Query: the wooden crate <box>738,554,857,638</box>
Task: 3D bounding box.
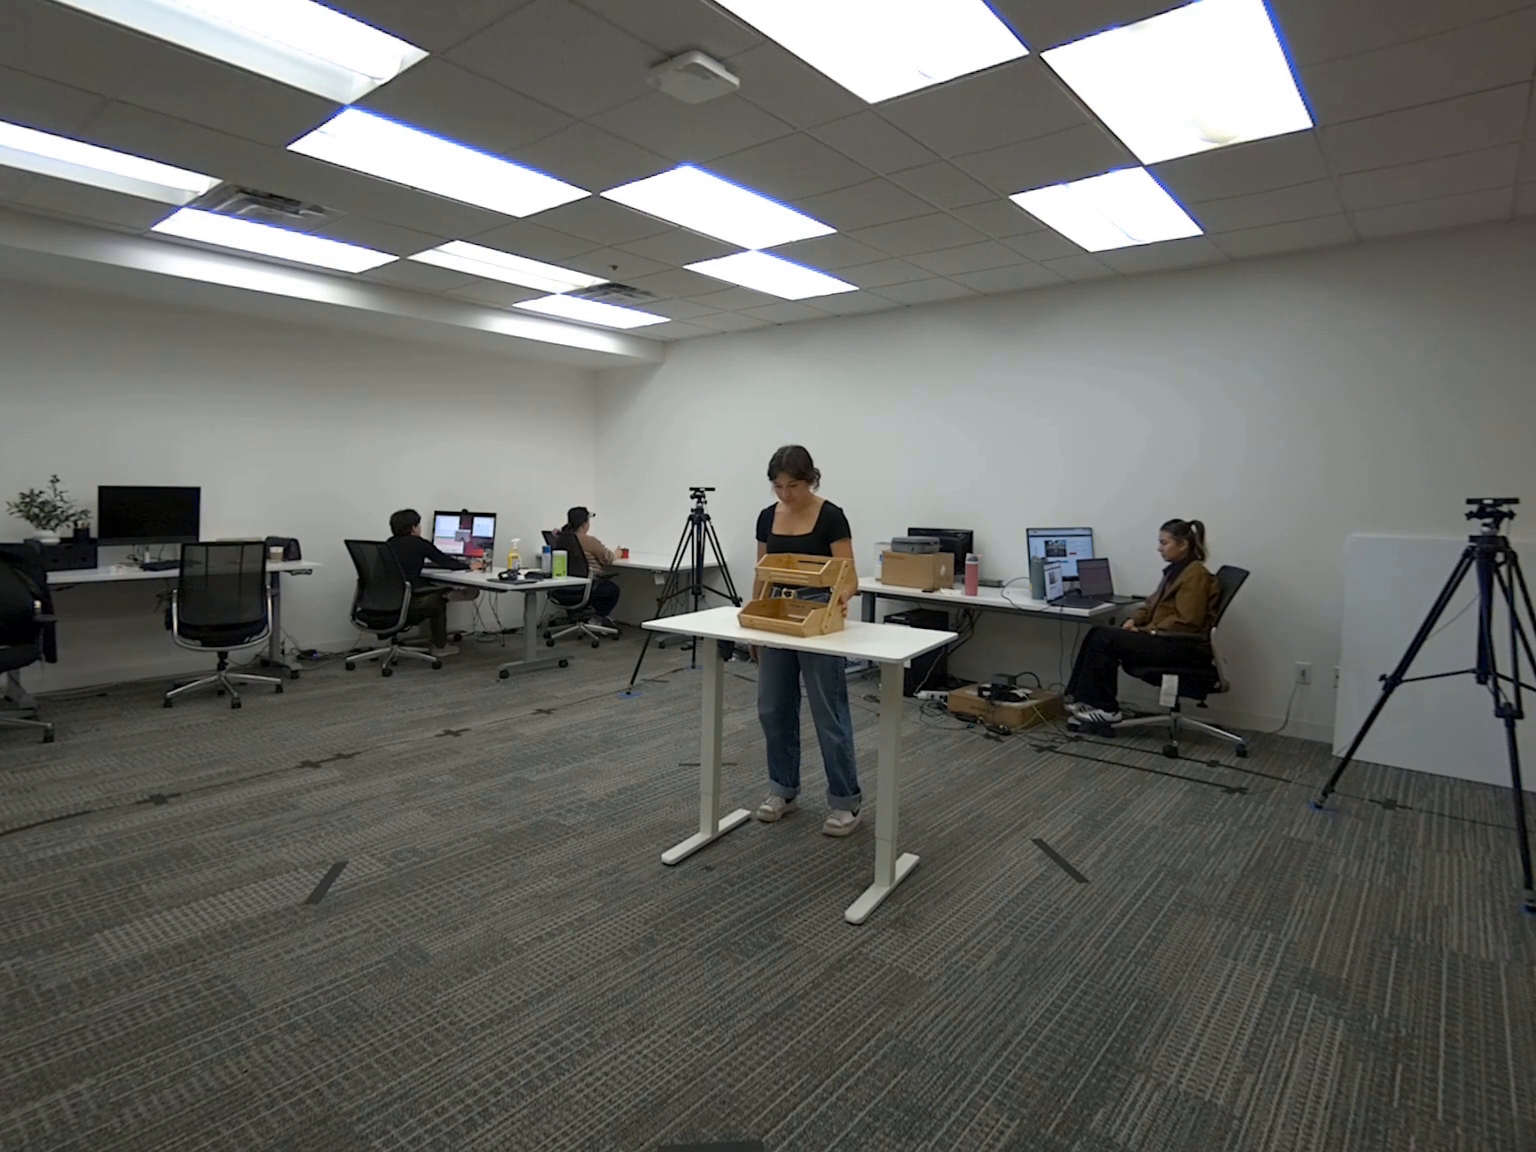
[{"bbox_3d":[0.088,0.056,3.124,0.335,0.272,0.293,6,5,40],"label":"wooden crate"}]
